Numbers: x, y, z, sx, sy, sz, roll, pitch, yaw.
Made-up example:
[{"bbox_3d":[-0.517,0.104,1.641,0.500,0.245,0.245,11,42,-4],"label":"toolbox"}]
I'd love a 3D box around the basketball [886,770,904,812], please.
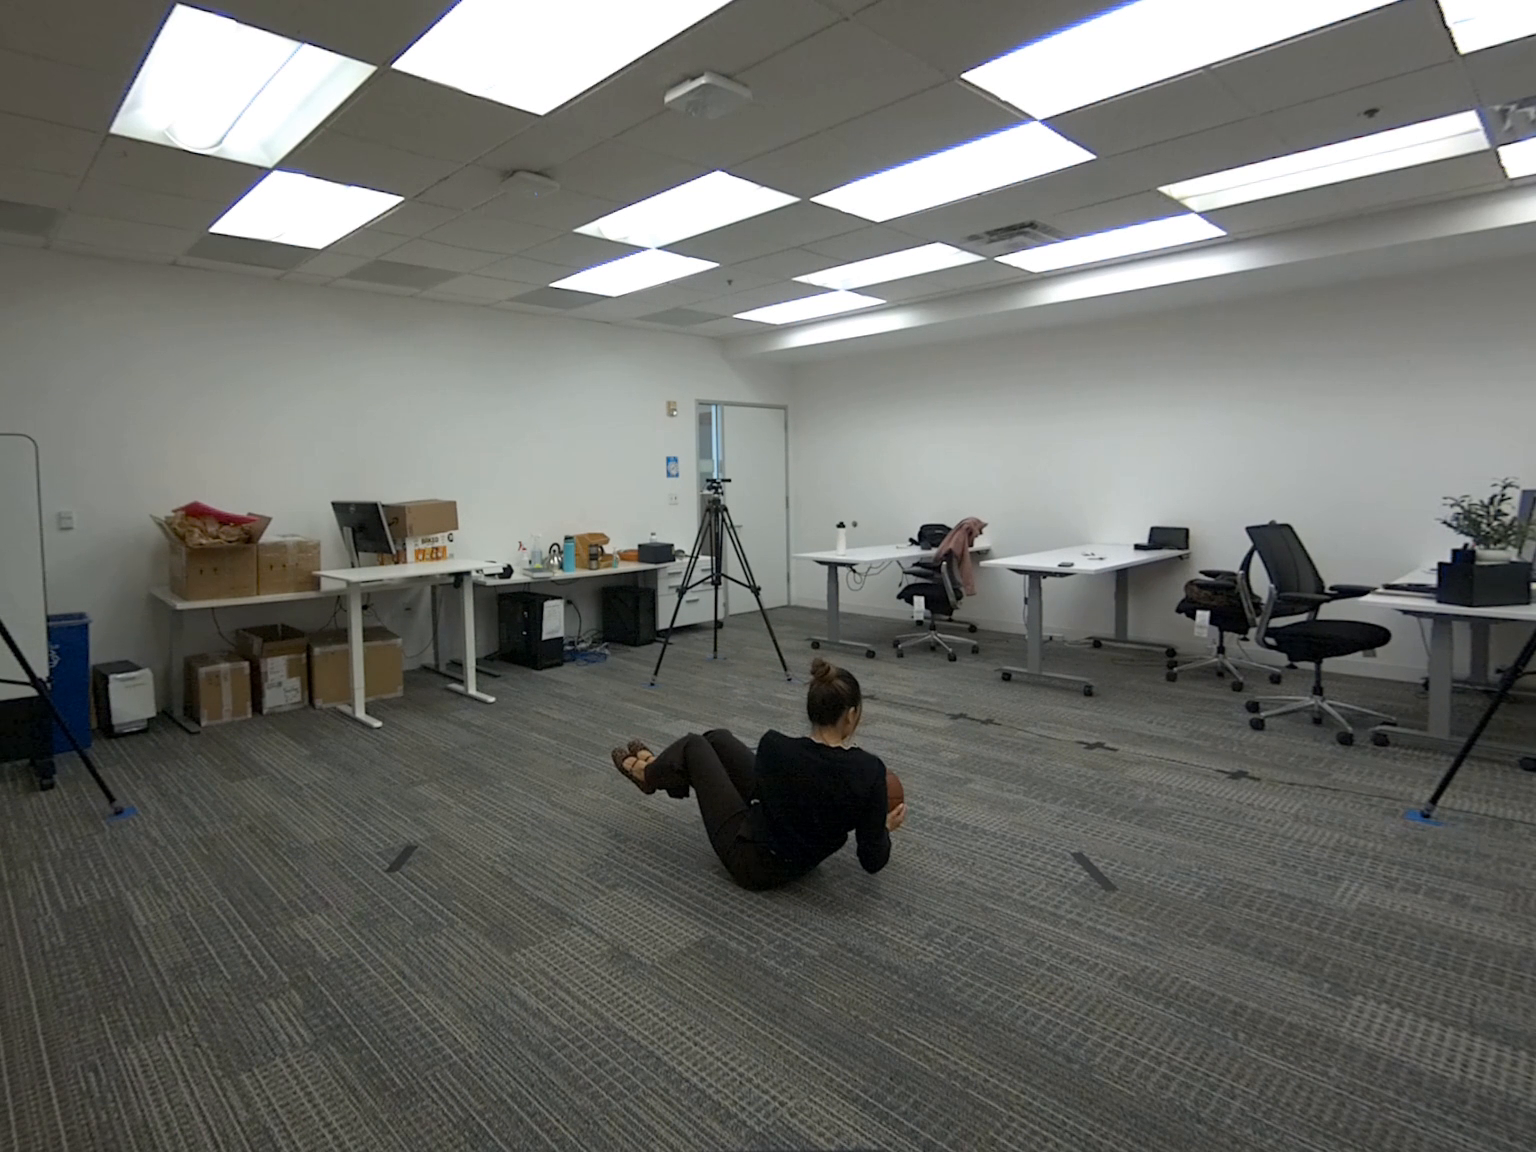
[{"bbox_3d":[0.378,0.792,3.145,0.236,0.235,0.237,-1,5,-2],"label":"basketball"}]
